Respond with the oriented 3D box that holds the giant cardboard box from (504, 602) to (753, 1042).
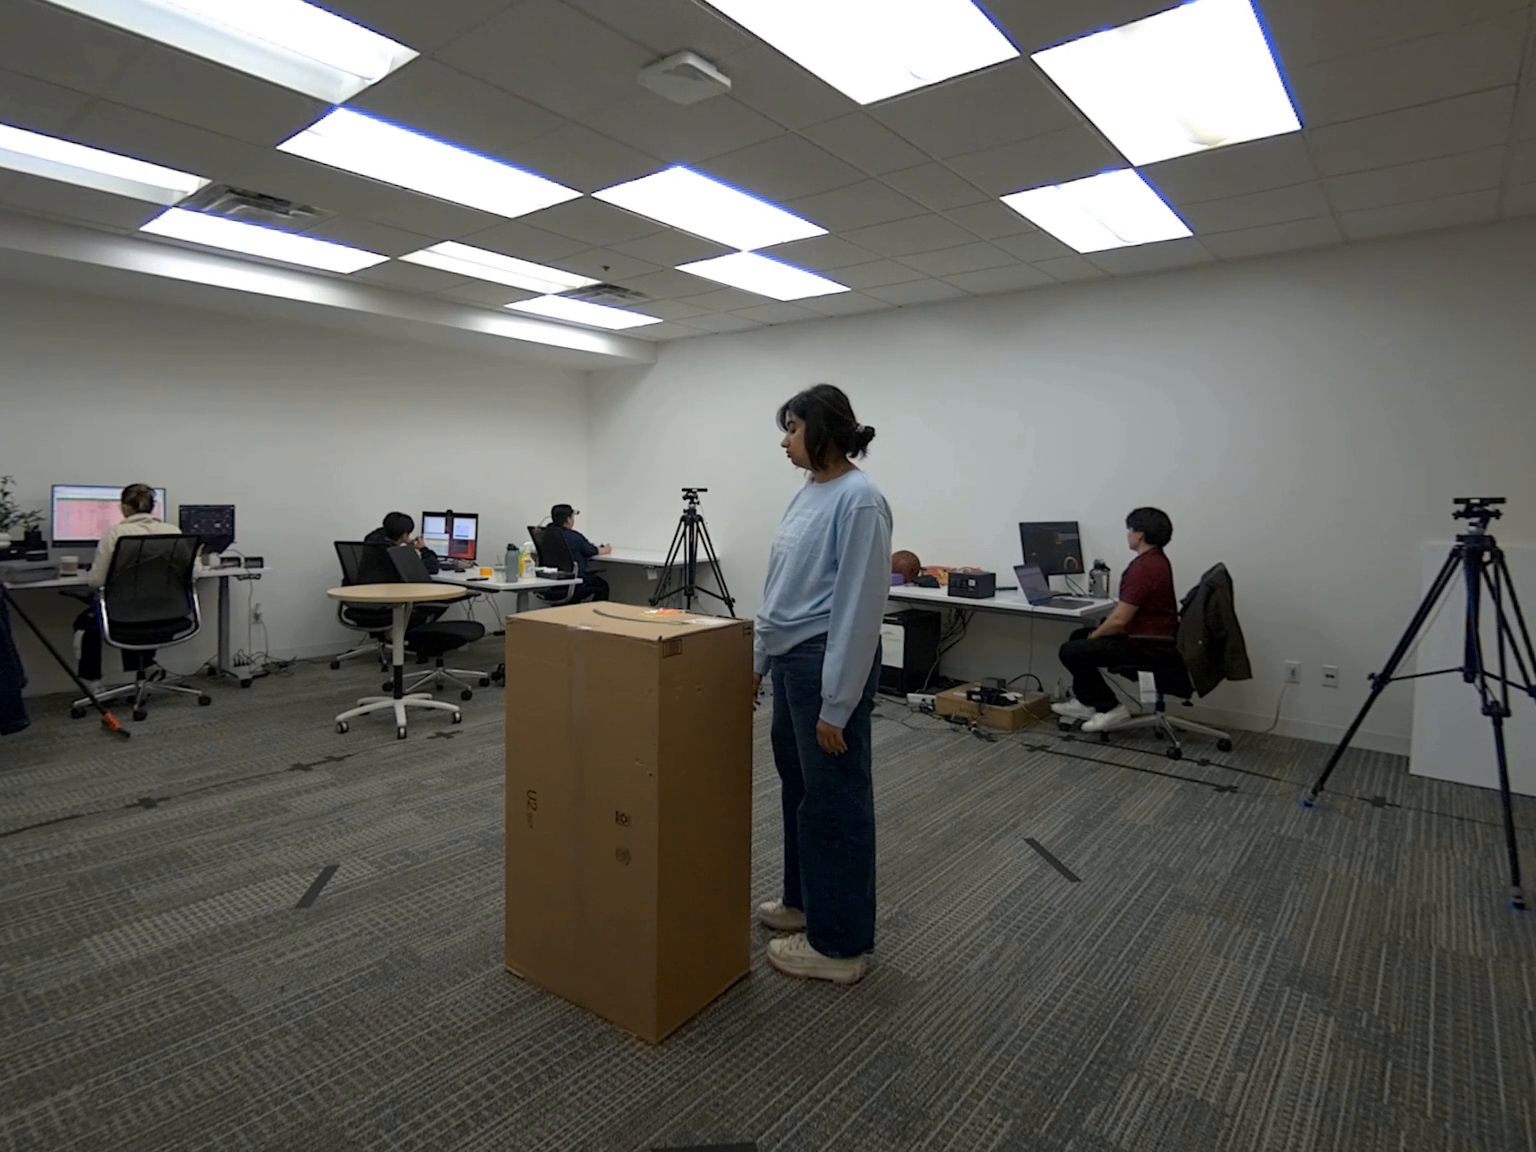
[{"bbox_3d":[-0.405,0.622,2.430,0.603,1.024,0.434,3,3,35],"label":"giant cardboard box"}]
